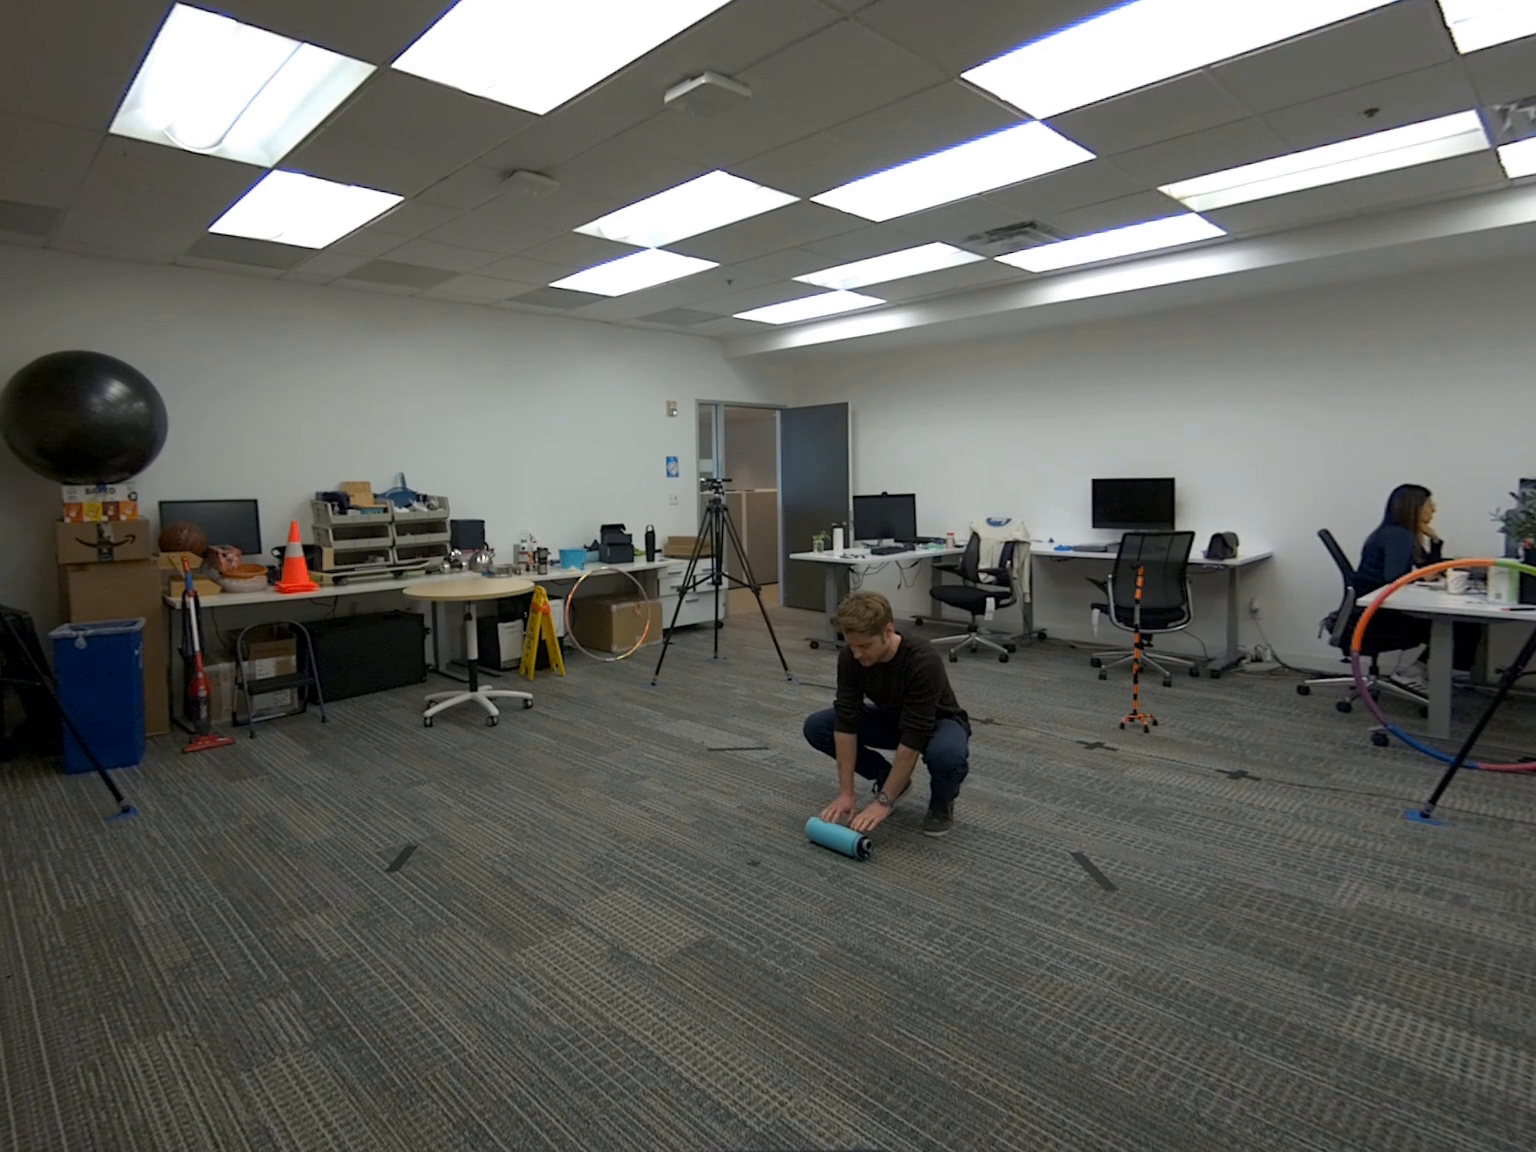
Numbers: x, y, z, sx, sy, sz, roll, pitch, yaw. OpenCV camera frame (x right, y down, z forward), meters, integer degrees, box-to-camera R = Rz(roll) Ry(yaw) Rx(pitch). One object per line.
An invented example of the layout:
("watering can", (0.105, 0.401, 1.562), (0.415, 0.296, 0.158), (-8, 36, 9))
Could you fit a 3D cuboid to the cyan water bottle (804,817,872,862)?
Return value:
("cyan water bottle", (0.262, 0.977, 3.193), (0.090, 0.092, 0.292), (-5, 8, -41))
